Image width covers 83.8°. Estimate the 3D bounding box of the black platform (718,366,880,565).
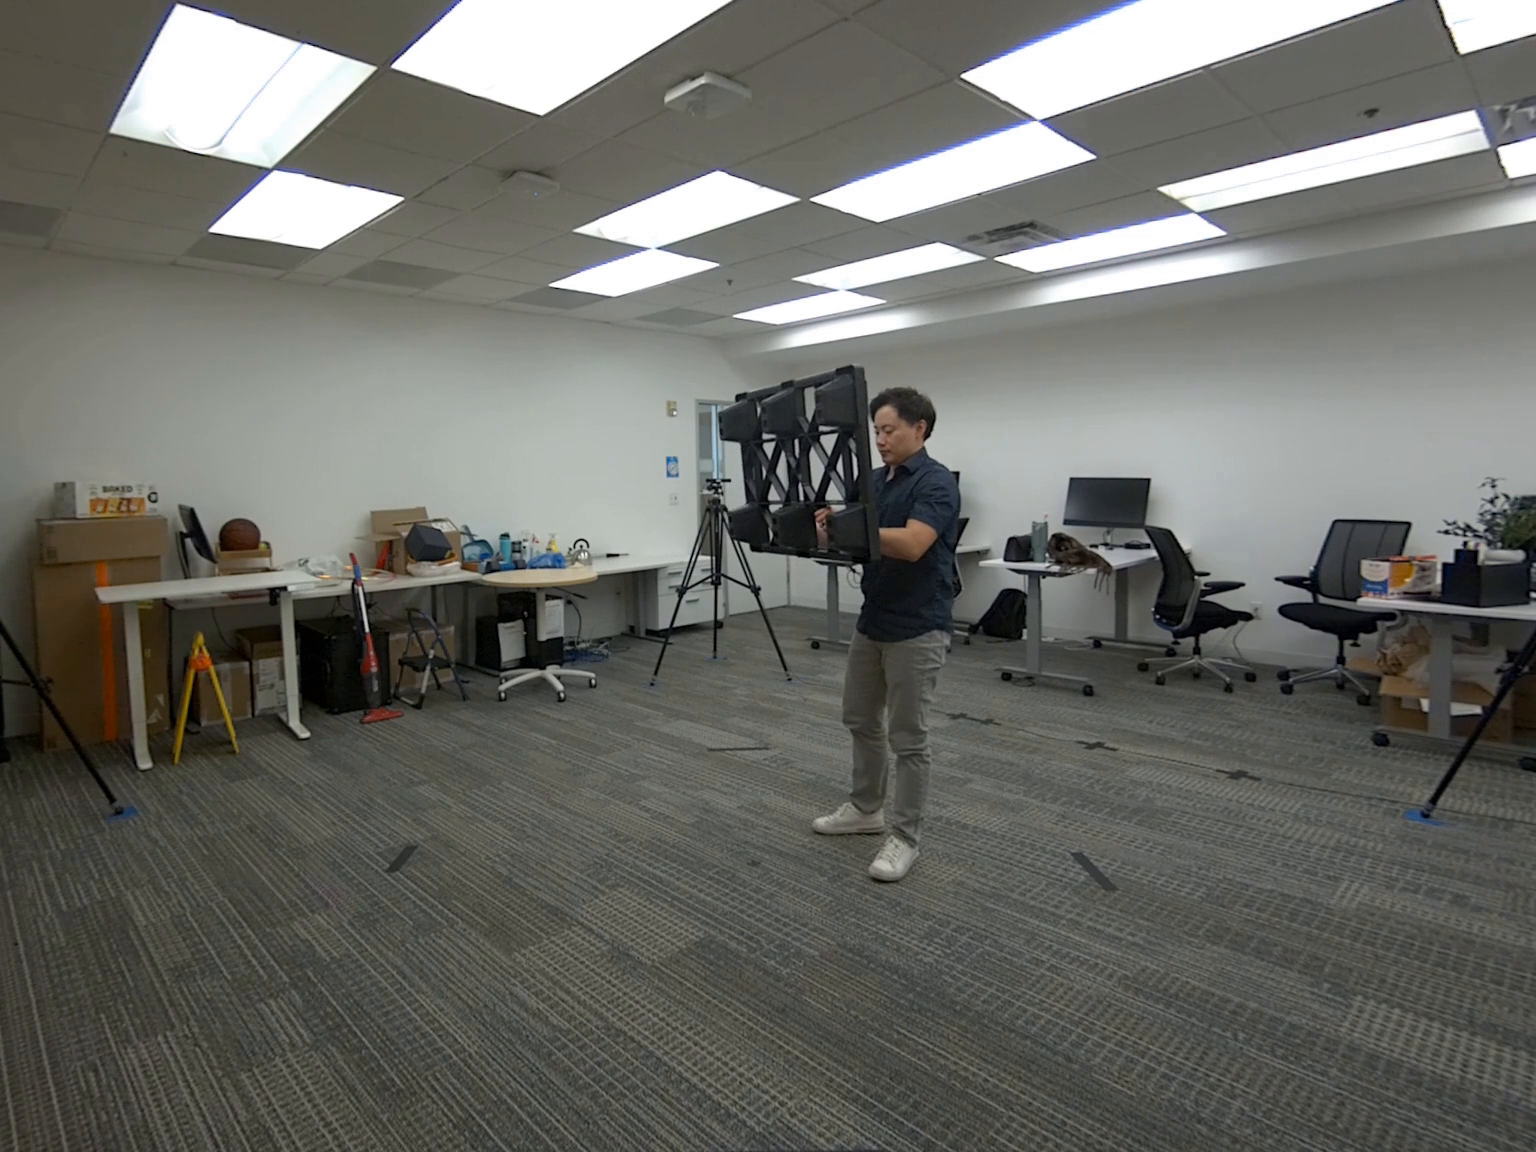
[{"bbox_3d":[0.062,-0.357,2.869,0.140,0.602,0.826,-8,7,-26],"label":"black platform"}]
